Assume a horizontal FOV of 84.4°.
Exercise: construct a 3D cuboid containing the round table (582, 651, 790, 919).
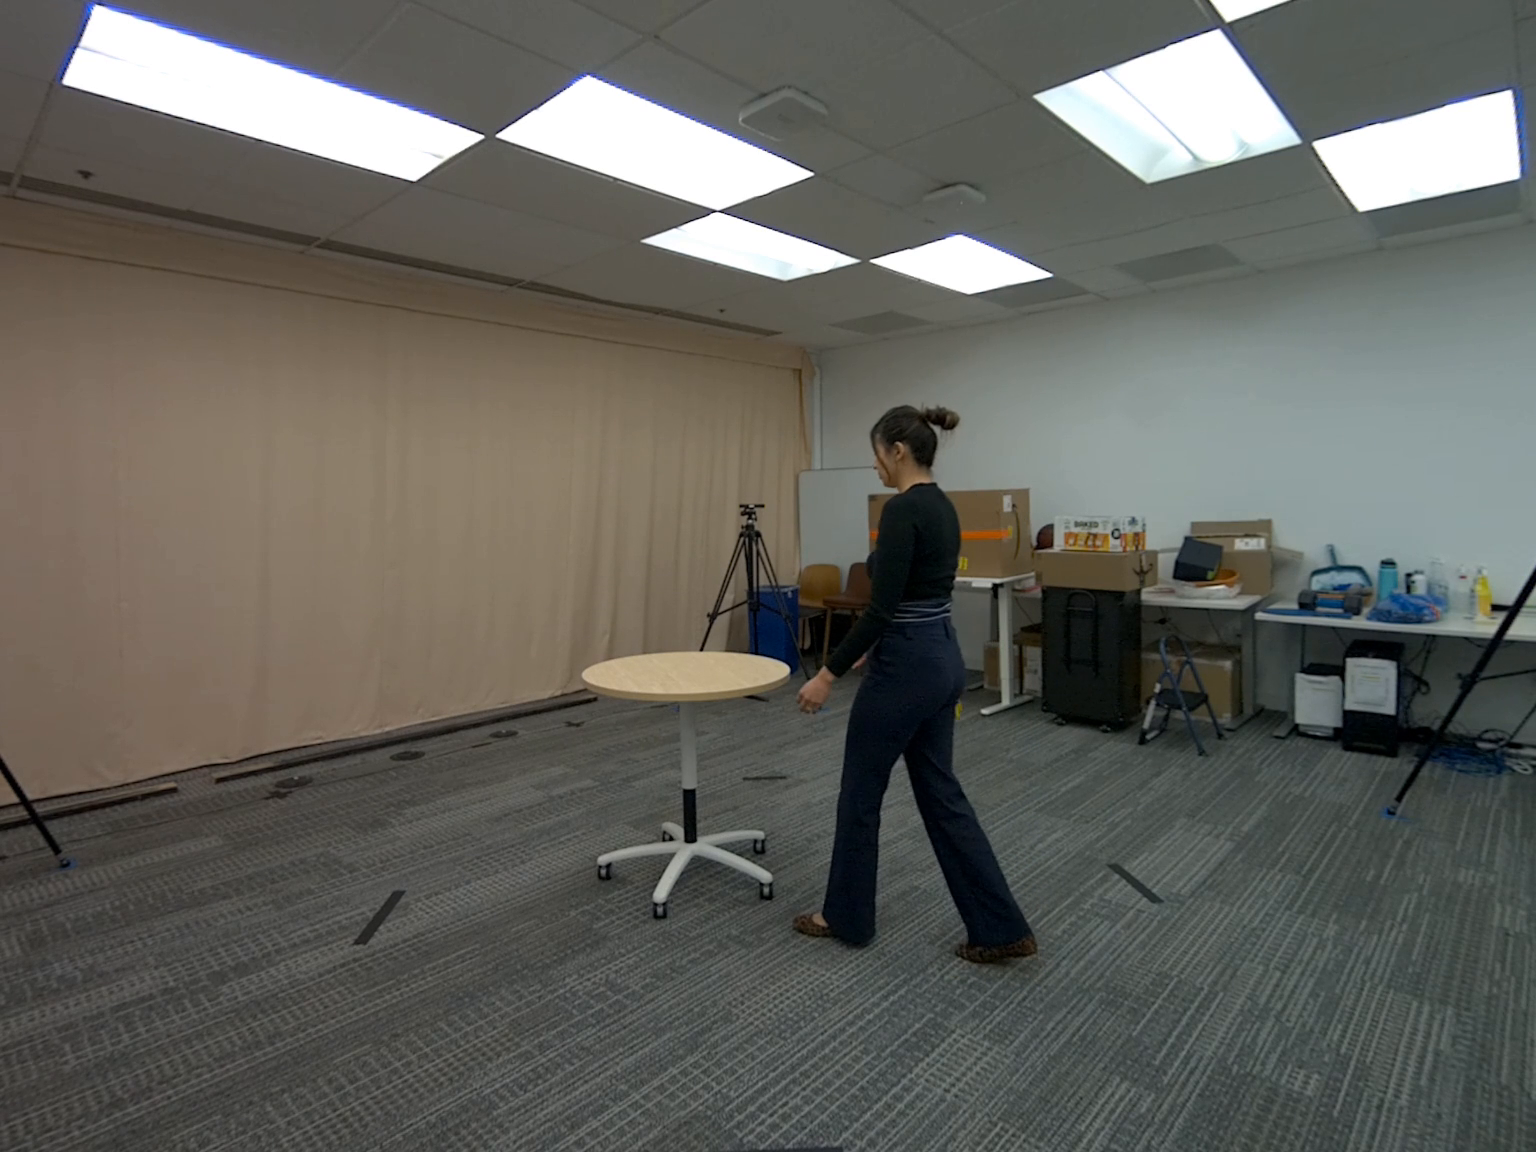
[{"bbox_3d":[-0.287,0.742,3.131,0.763,0.792,0.767,-2,4,-2],"label":"round table"}]
